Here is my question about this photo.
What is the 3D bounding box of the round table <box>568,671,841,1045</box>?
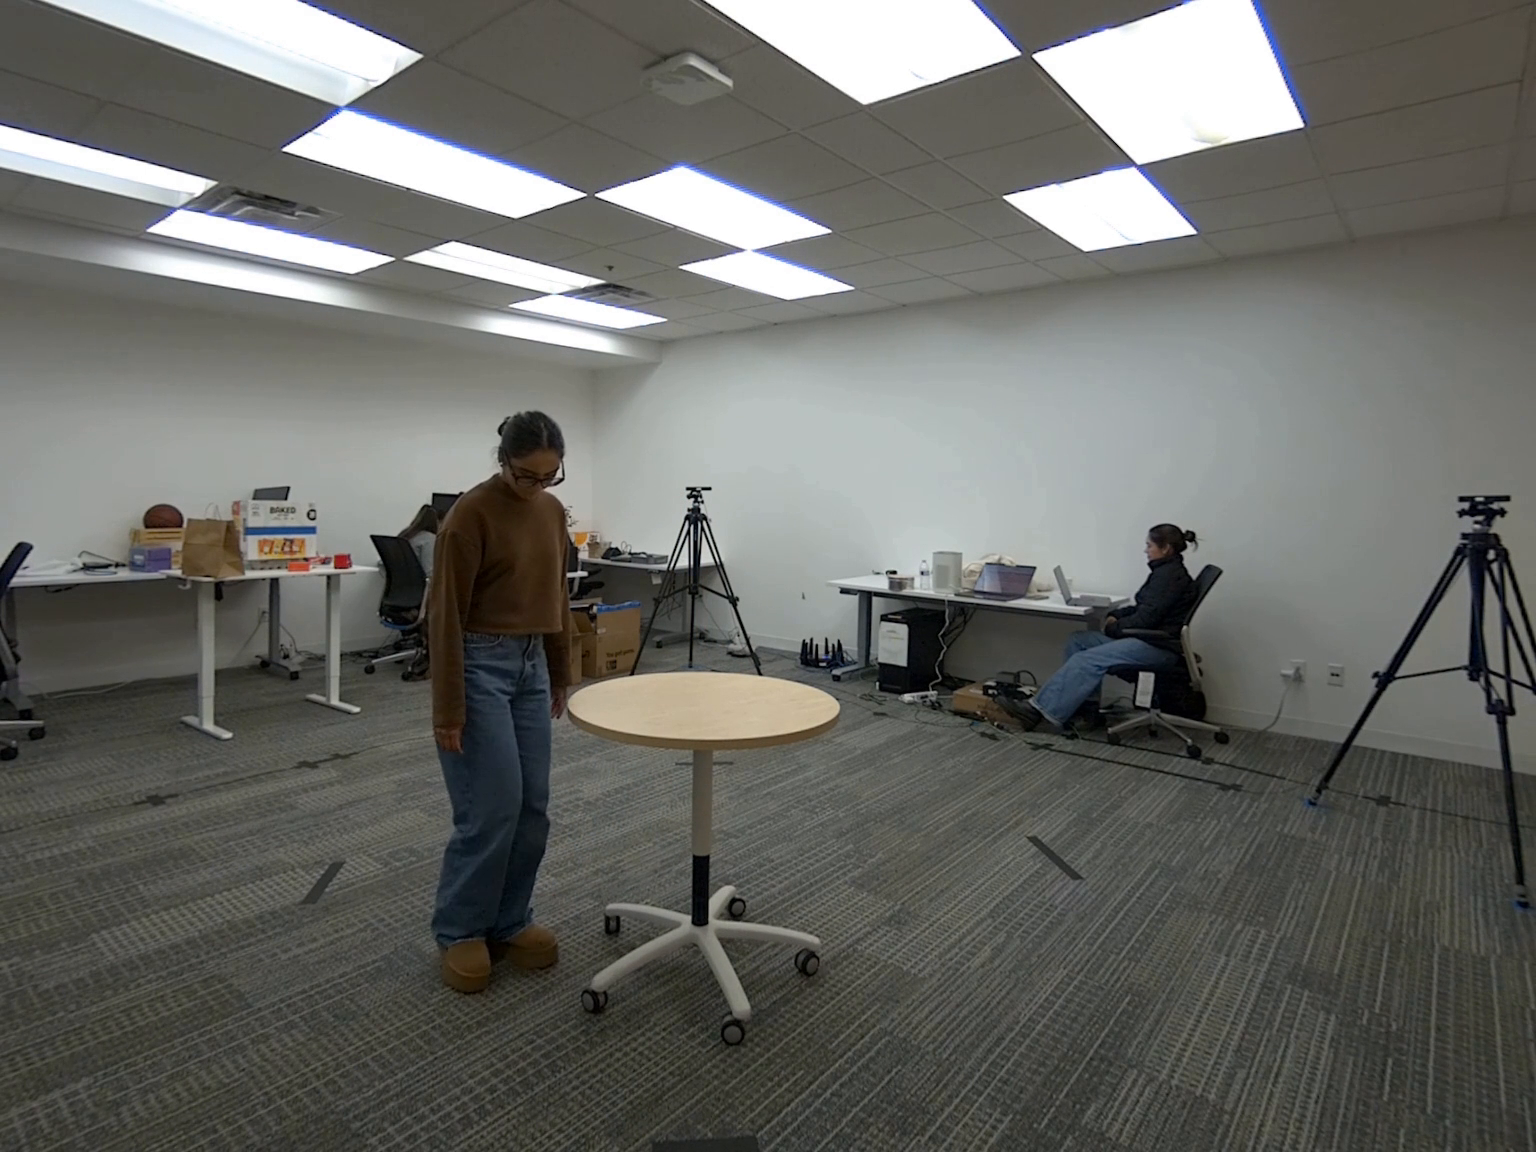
[{"bbox_3d":[-0.204,0.747,2.435,0.763,0.791,0.768,0,4,-2],"label":"round table"}]
